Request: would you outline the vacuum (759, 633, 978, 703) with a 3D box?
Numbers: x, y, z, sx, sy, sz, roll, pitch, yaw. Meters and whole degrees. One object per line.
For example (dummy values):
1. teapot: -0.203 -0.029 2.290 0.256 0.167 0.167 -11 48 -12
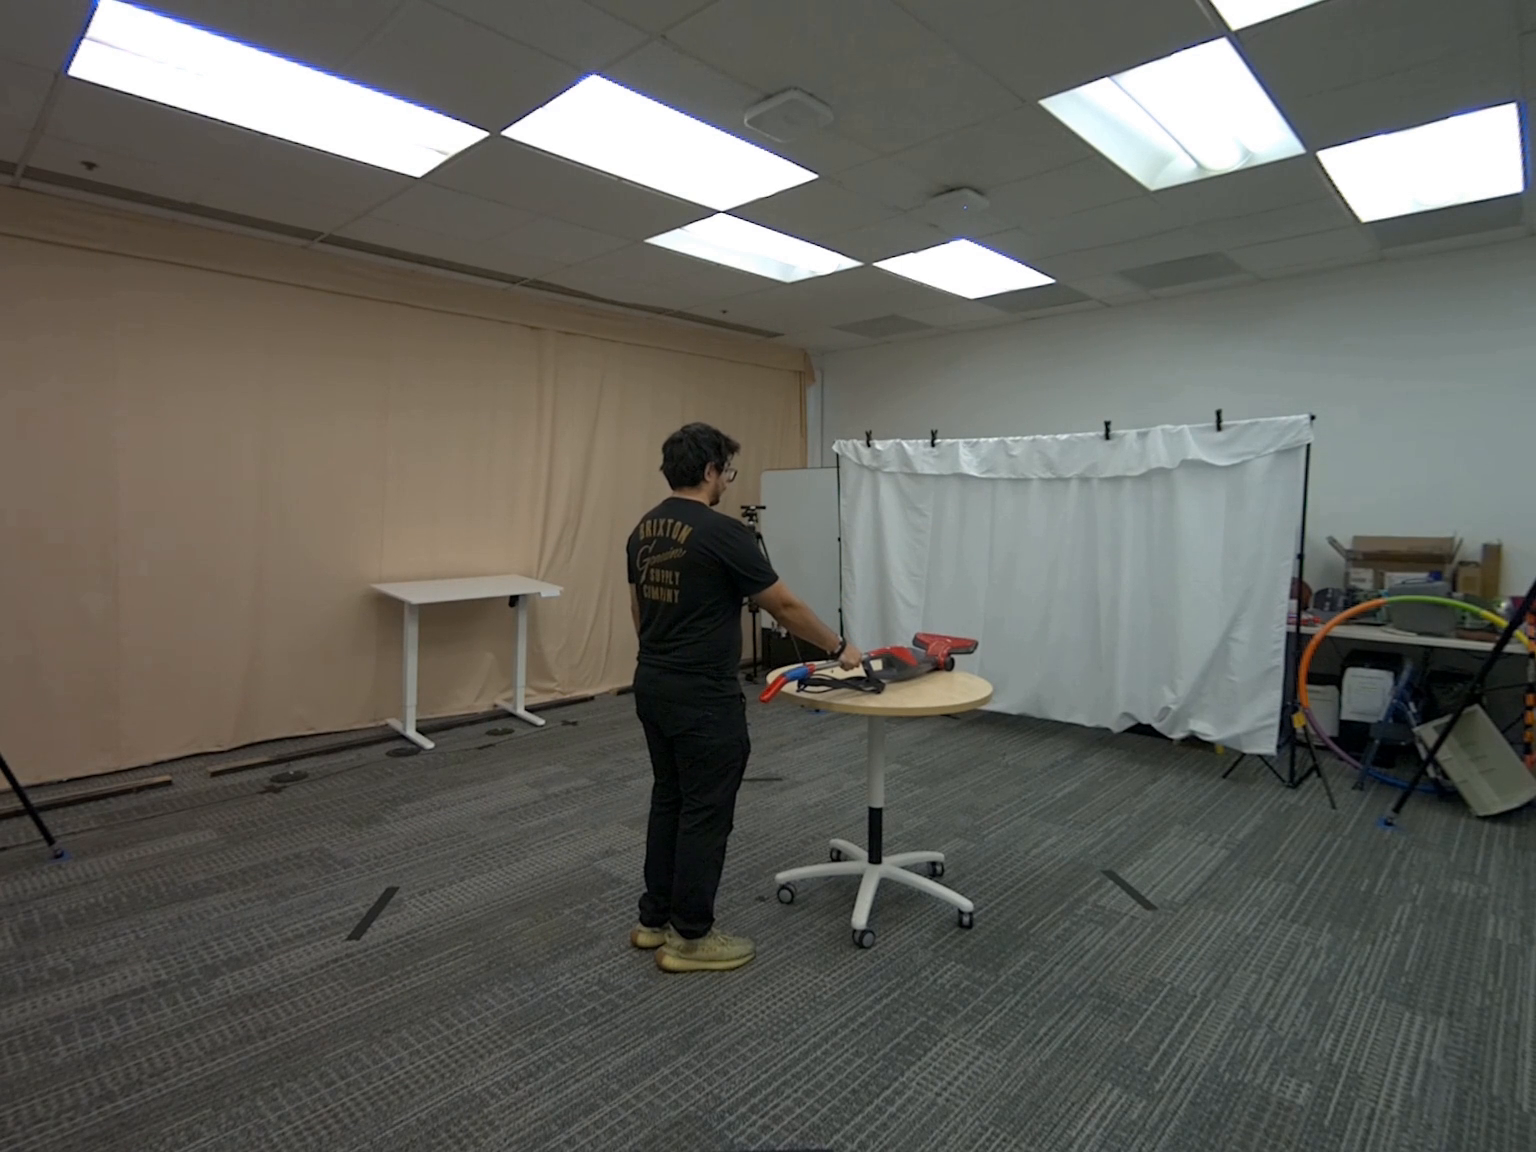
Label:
1. vacuum: 0.347 0.328 2.773 0.261 0.144 1.017 0 3 42
